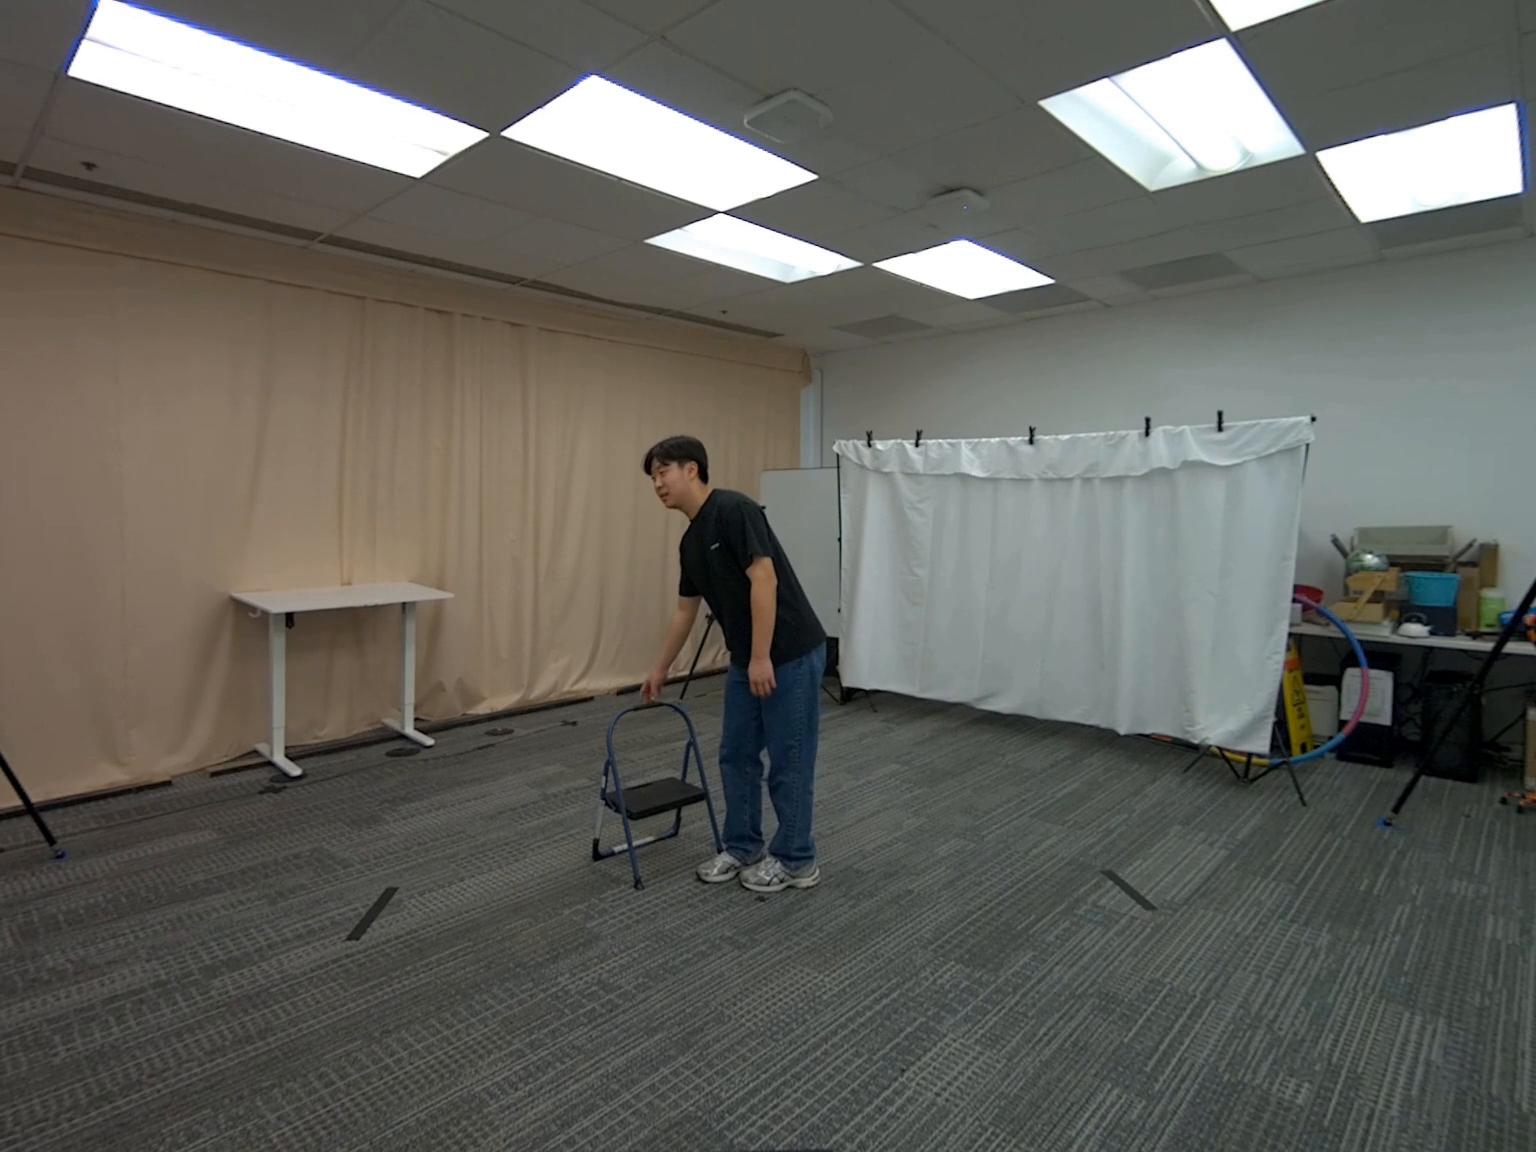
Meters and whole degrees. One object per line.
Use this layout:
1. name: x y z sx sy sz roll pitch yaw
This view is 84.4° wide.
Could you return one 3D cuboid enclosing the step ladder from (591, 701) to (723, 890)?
1. step ladder: -0.434 0.816 3.313 0.417 0.605 0.361 -3 4 -41
